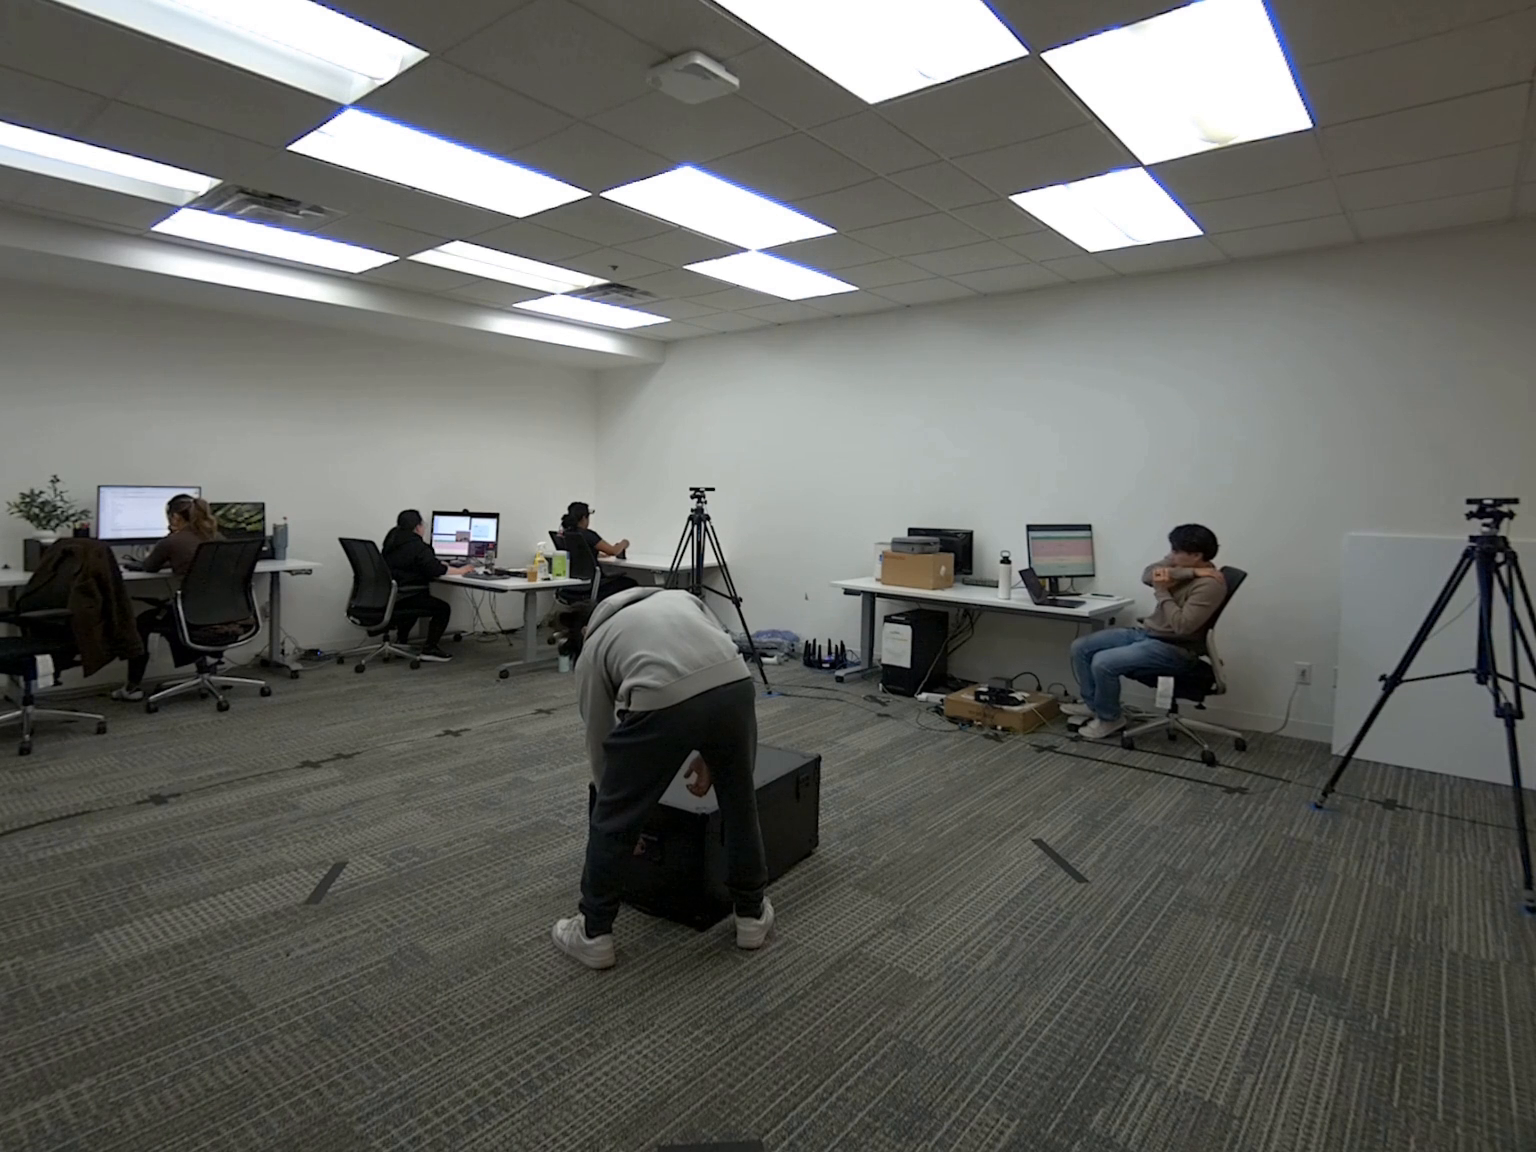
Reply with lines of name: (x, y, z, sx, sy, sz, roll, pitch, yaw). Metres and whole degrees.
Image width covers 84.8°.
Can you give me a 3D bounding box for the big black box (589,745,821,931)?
big black box: (-0.194, 0.879, 3.104, 0.537, 0.394, 0.839, 4, 6, 31)
